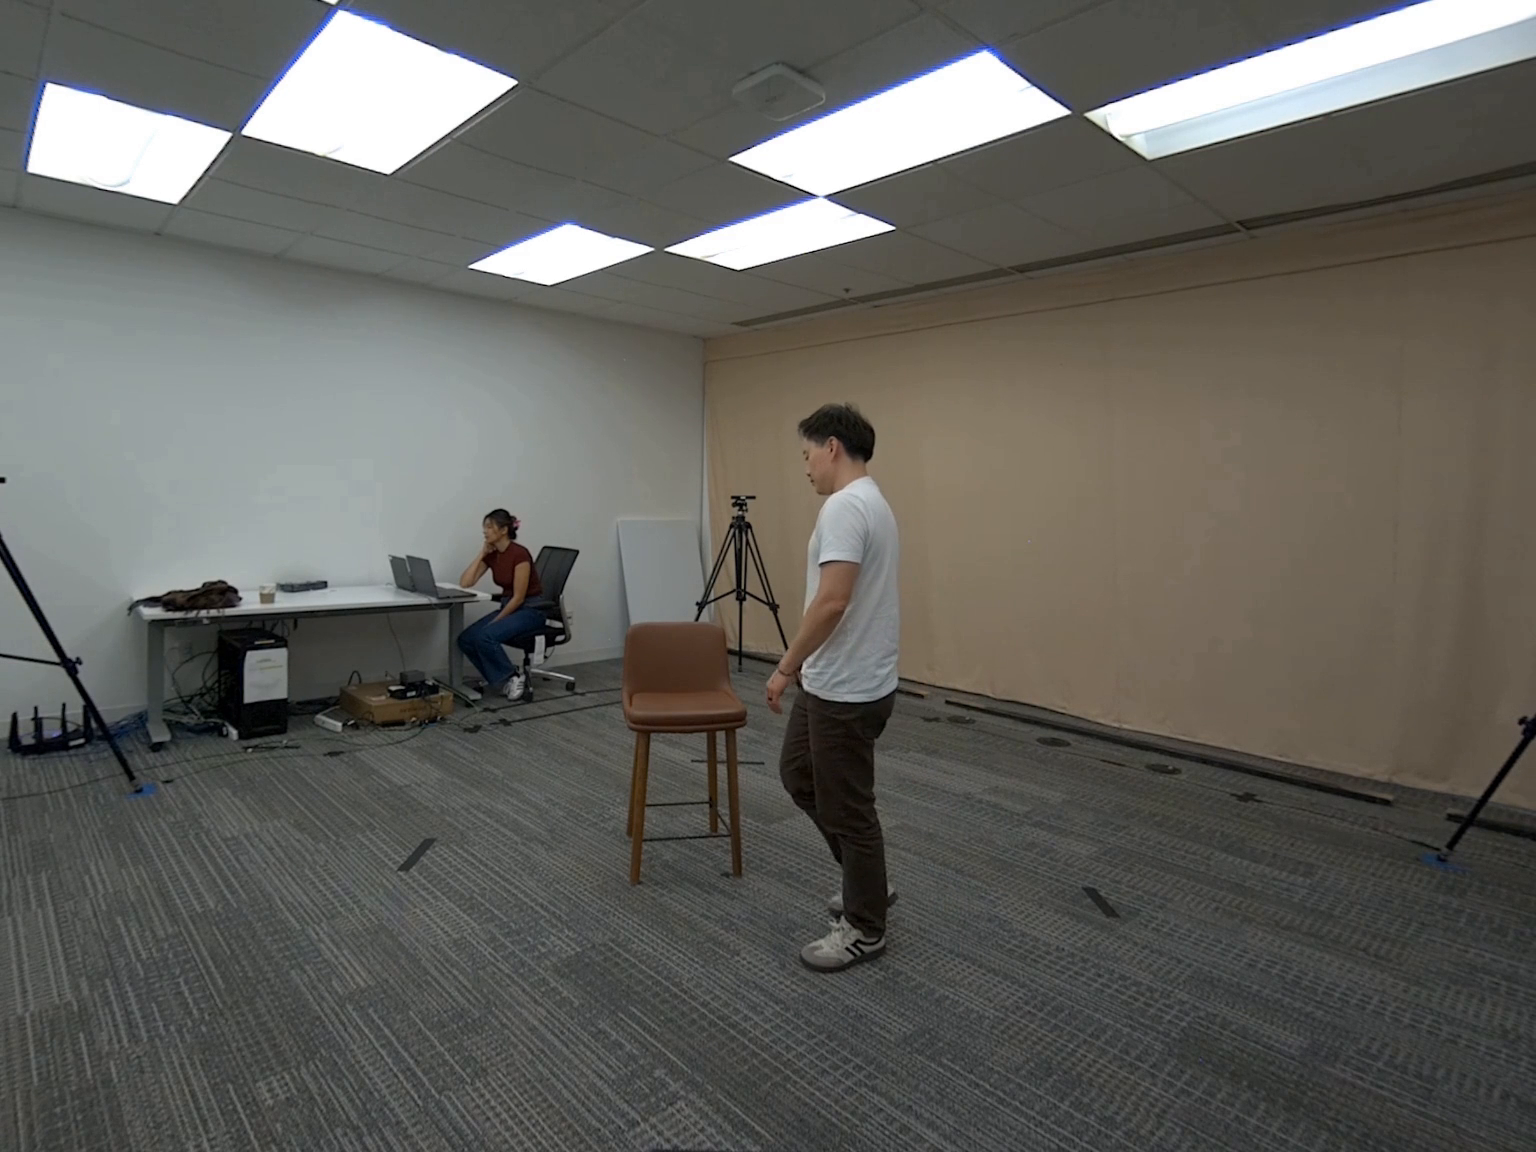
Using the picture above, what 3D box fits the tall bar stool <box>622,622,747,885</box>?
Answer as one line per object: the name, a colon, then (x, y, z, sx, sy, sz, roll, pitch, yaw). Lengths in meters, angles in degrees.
tall bar stool: (-0.342, 0.649, 3.245, 0.452, 0.889, 0.473, 1, 2, -13)
